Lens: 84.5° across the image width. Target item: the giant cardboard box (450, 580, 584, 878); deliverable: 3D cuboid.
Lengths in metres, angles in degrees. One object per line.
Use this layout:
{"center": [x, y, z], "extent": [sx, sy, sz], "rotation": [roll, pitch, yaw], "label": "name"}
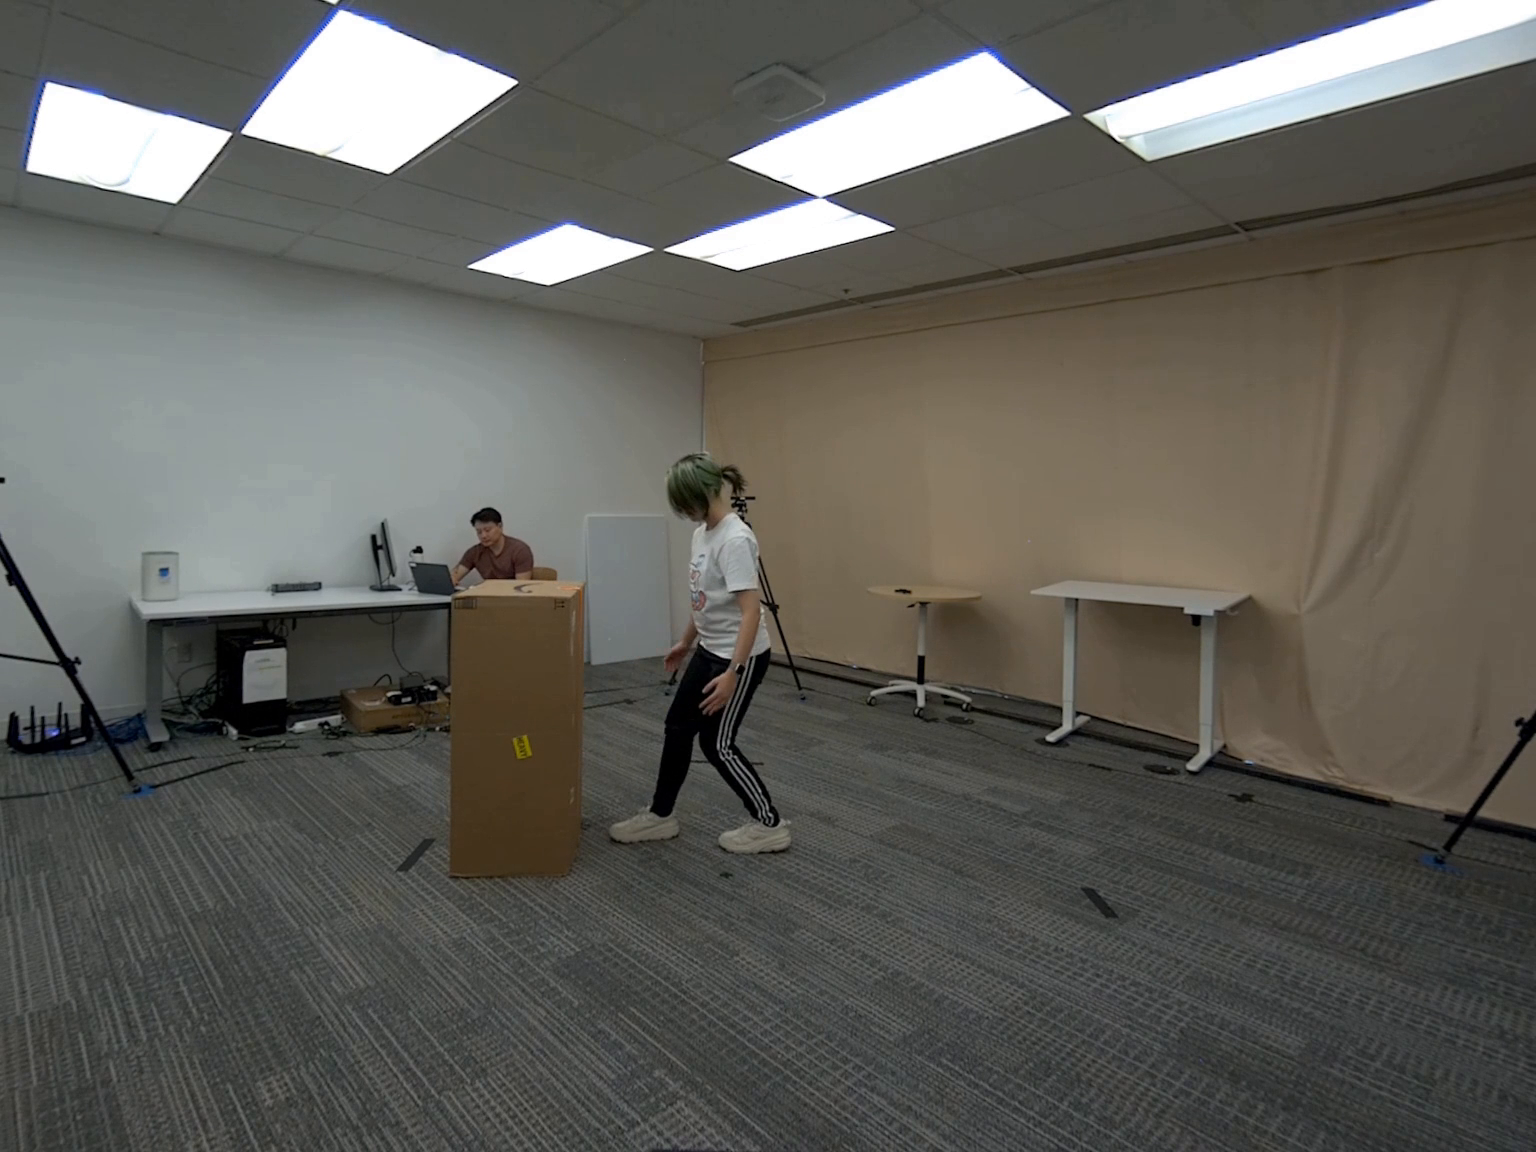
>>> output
{"center": [-0.967, 0.560, 3.304], "extent": [0.444, 1.025, 0.588], "rotation": [1, 3, -7], "label": "giant cardboard box"}
